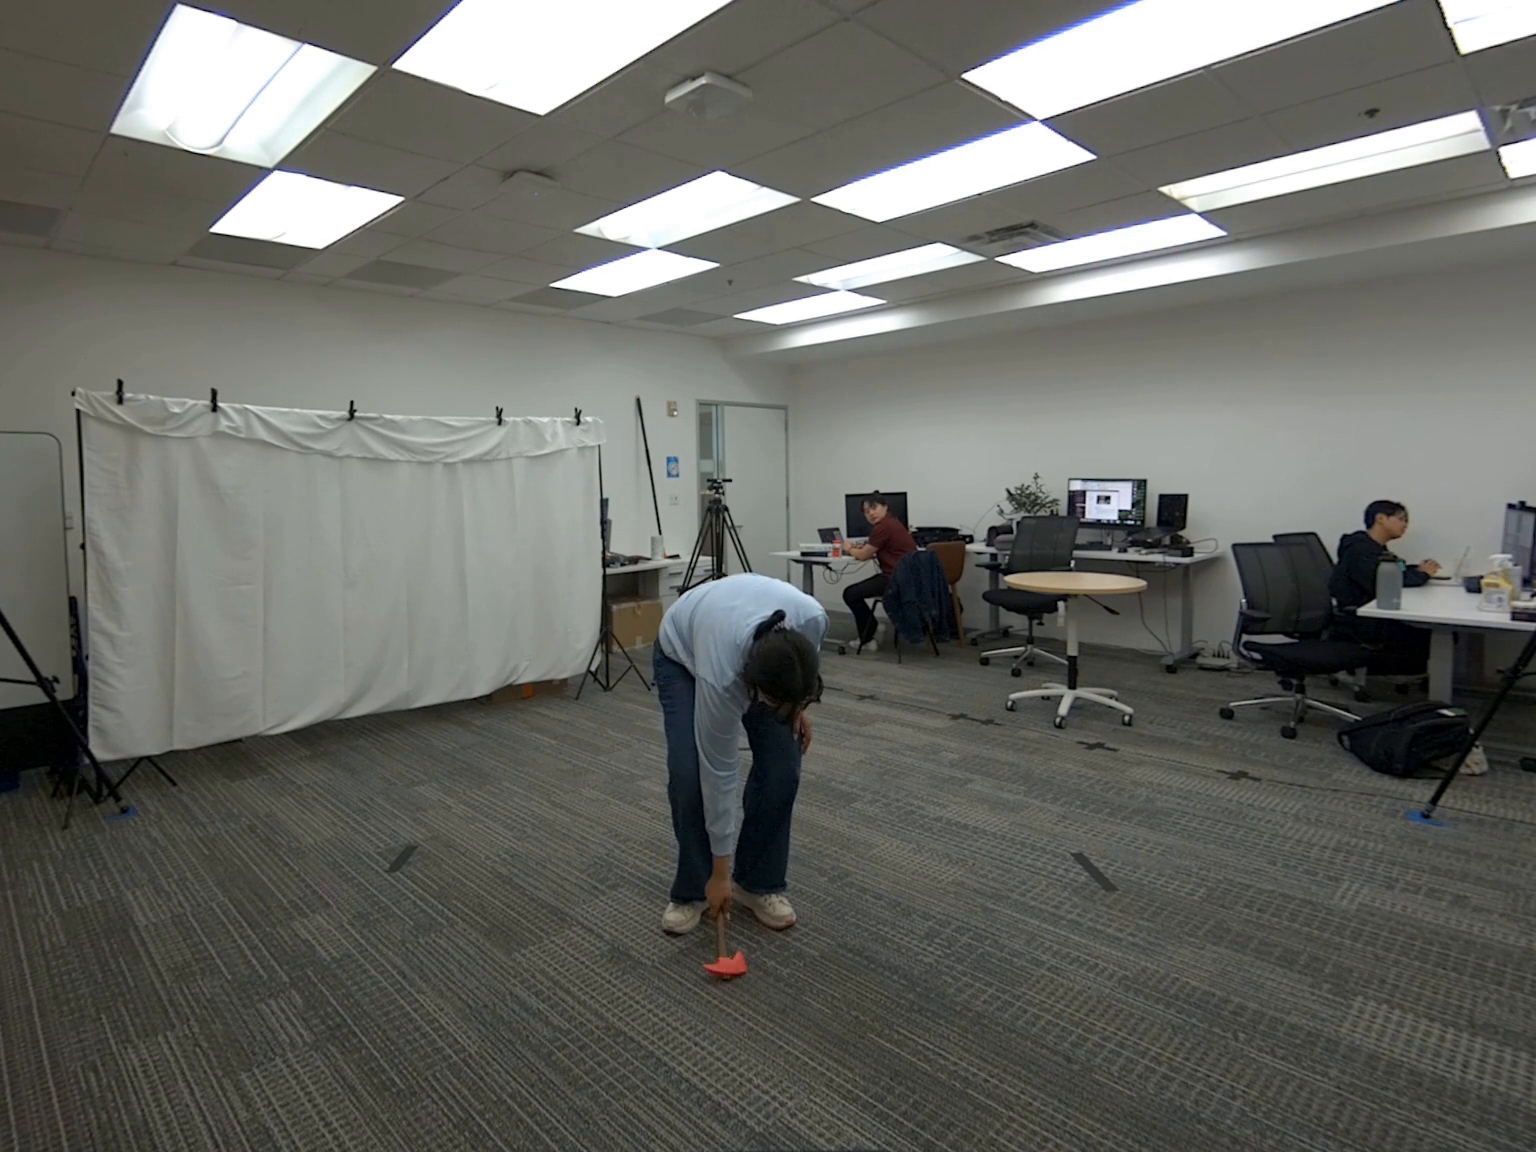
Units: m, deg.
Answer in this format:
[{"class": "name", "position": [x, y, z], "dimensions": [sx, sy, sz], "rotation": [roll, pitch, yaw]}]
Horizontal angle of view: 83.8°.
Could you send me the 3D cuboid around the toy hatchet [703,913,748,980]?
[{"class": "toy hatchet", "position": [-0.099, 1.048, 2.483], "dimensions": [0.131, 0.029, 0.274], "rotation": [20, 33, -1]}]
